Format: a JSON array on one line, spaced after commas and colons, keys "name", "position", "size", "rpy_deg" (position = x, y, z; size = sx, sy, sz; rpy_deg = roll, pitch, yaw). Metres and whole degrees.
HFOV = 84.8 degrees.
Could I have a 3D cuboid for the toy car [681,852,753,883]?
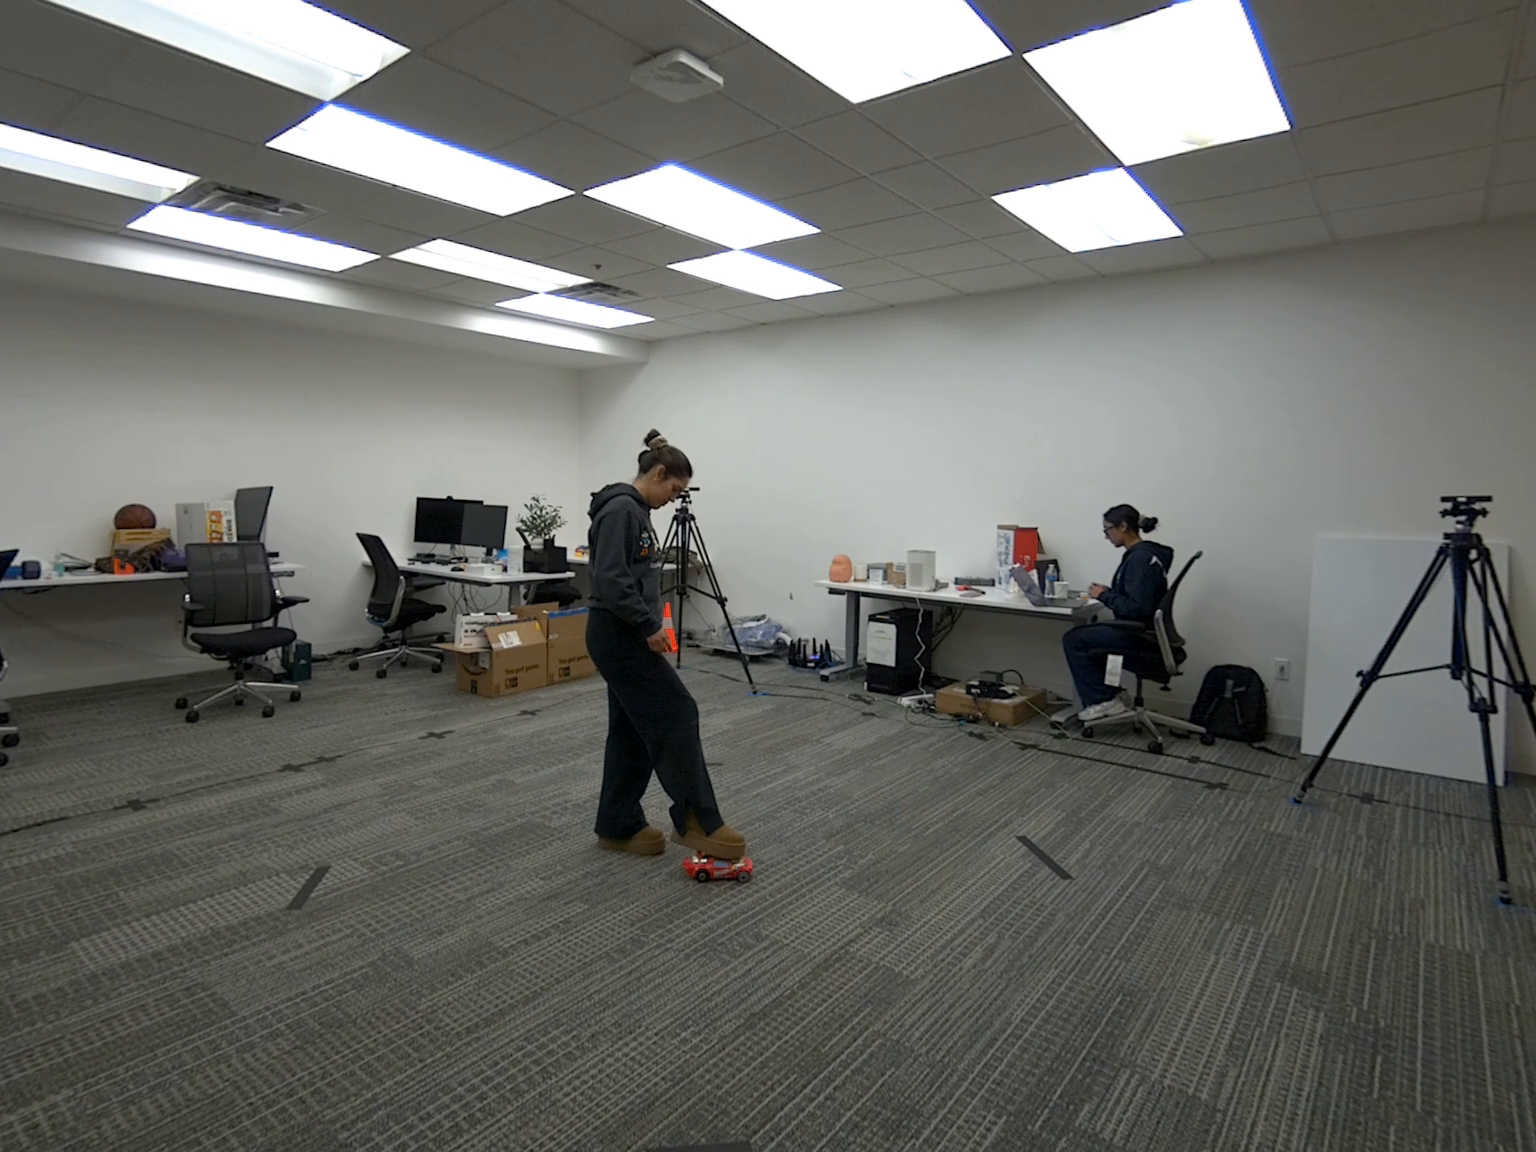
[{"name": "toy car", "position": [-0.185, 1.043, 3.048], "size": [0.254, 0.083, 0.130], "rpy_deg": [11, 3, -1]}]
